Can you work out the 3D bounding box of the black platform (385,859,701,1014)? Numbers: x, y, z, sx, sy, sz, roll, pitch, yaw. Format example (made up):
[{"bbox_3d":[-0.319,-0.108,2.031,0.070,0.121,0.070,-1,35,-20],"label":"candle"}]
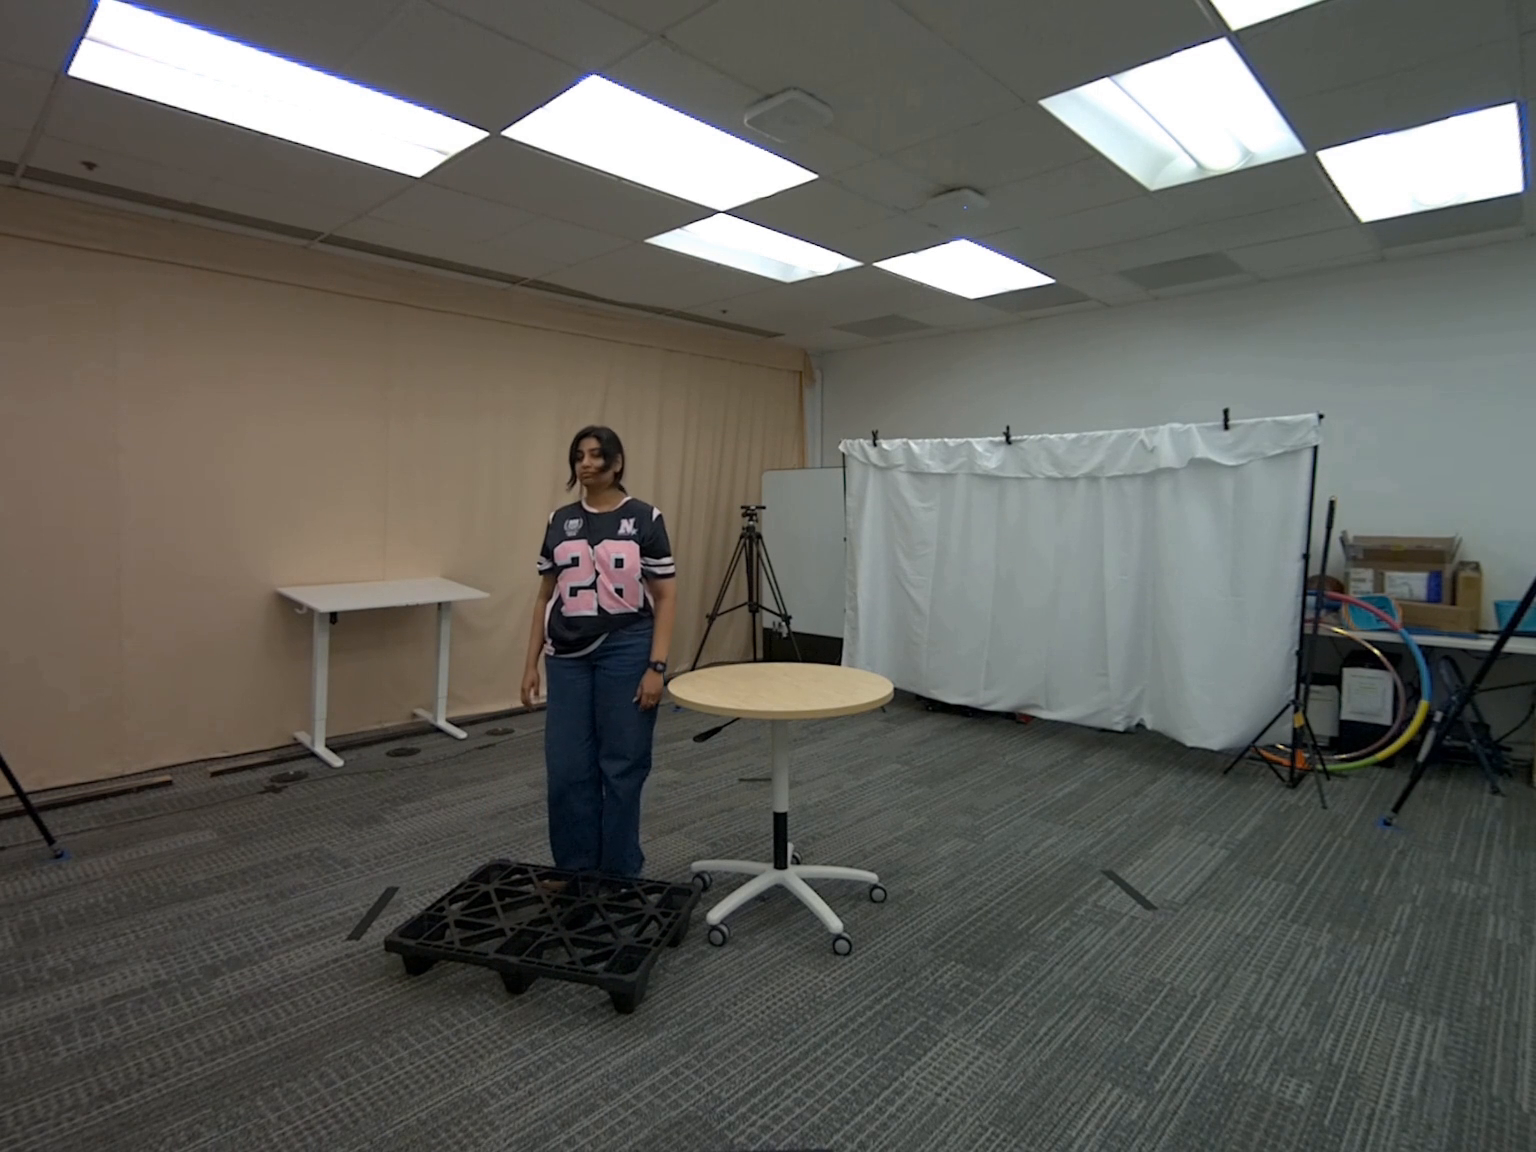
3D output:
[{"bbox_3d":[-0.676,1.111,2.634,0.820,0.143,0.596,1,4,16],"label":"black platform"}]
